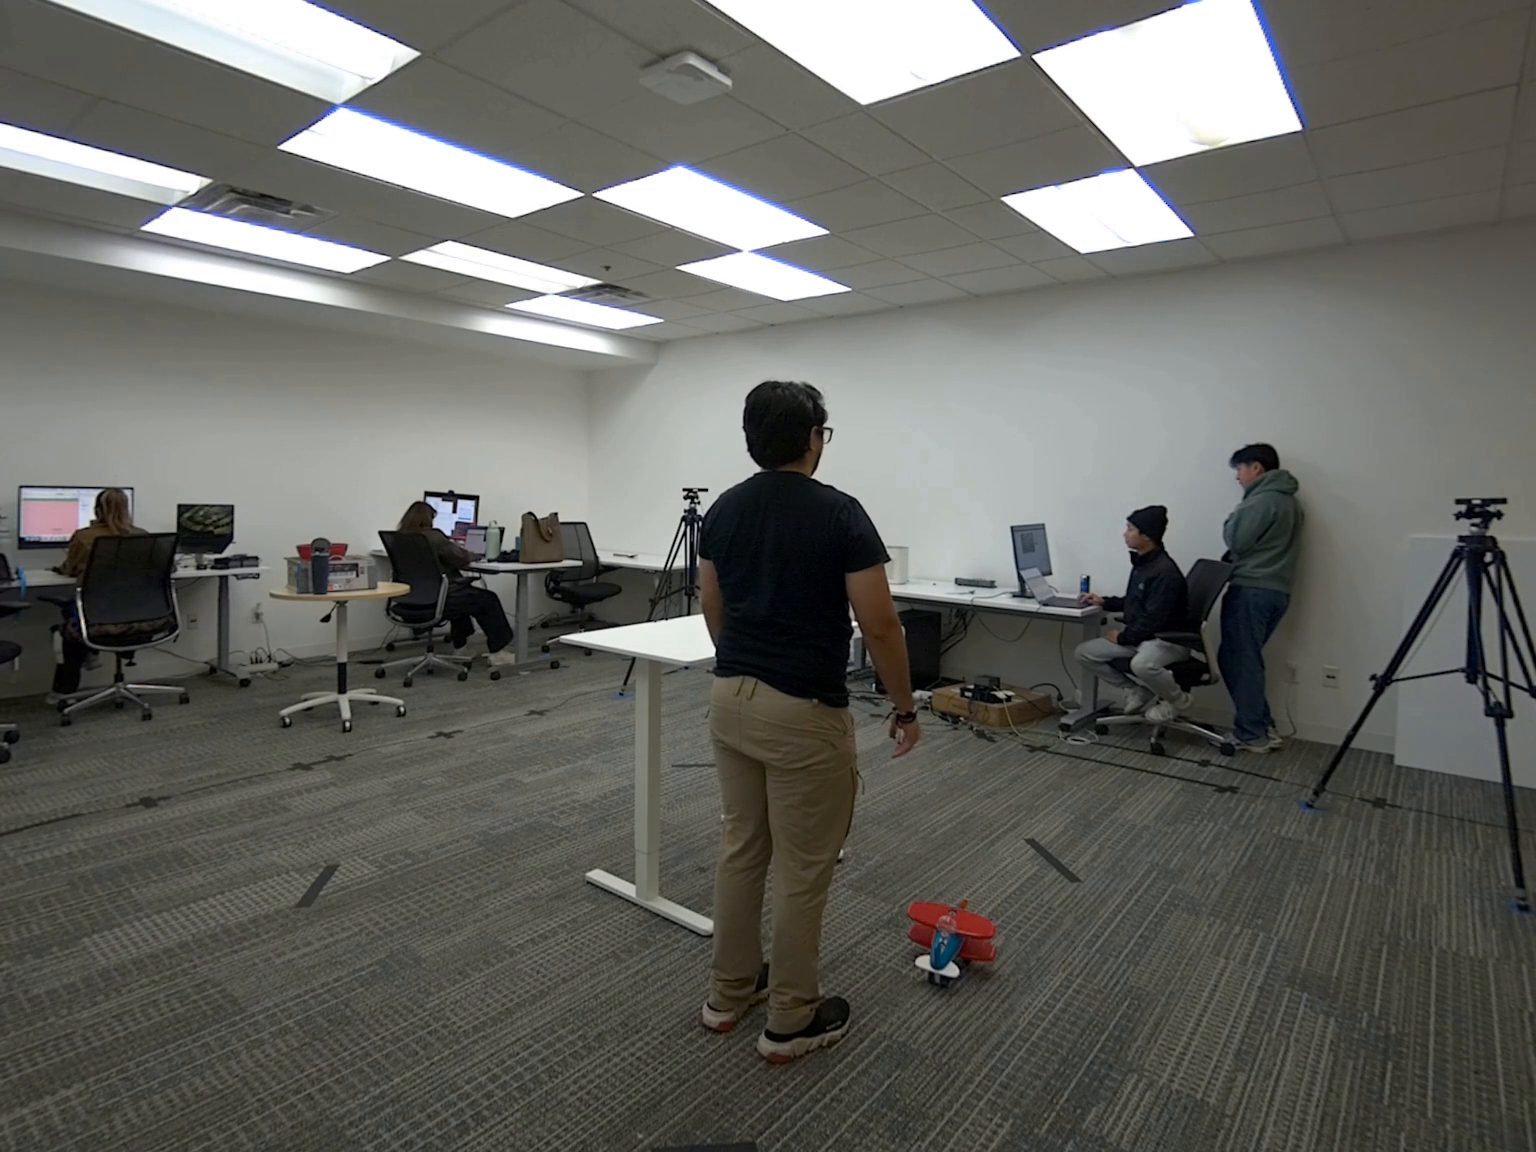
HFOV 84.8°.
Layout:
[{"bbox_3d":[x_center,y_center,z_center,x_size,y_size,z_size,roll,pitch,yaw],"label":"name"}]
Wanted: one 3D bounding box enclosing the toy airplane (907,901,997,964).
[{"bbox_3d":[0.539,1.072,2.480,0.251,0.156,0.259,2,3,0],"label":"toy airplane"}]
